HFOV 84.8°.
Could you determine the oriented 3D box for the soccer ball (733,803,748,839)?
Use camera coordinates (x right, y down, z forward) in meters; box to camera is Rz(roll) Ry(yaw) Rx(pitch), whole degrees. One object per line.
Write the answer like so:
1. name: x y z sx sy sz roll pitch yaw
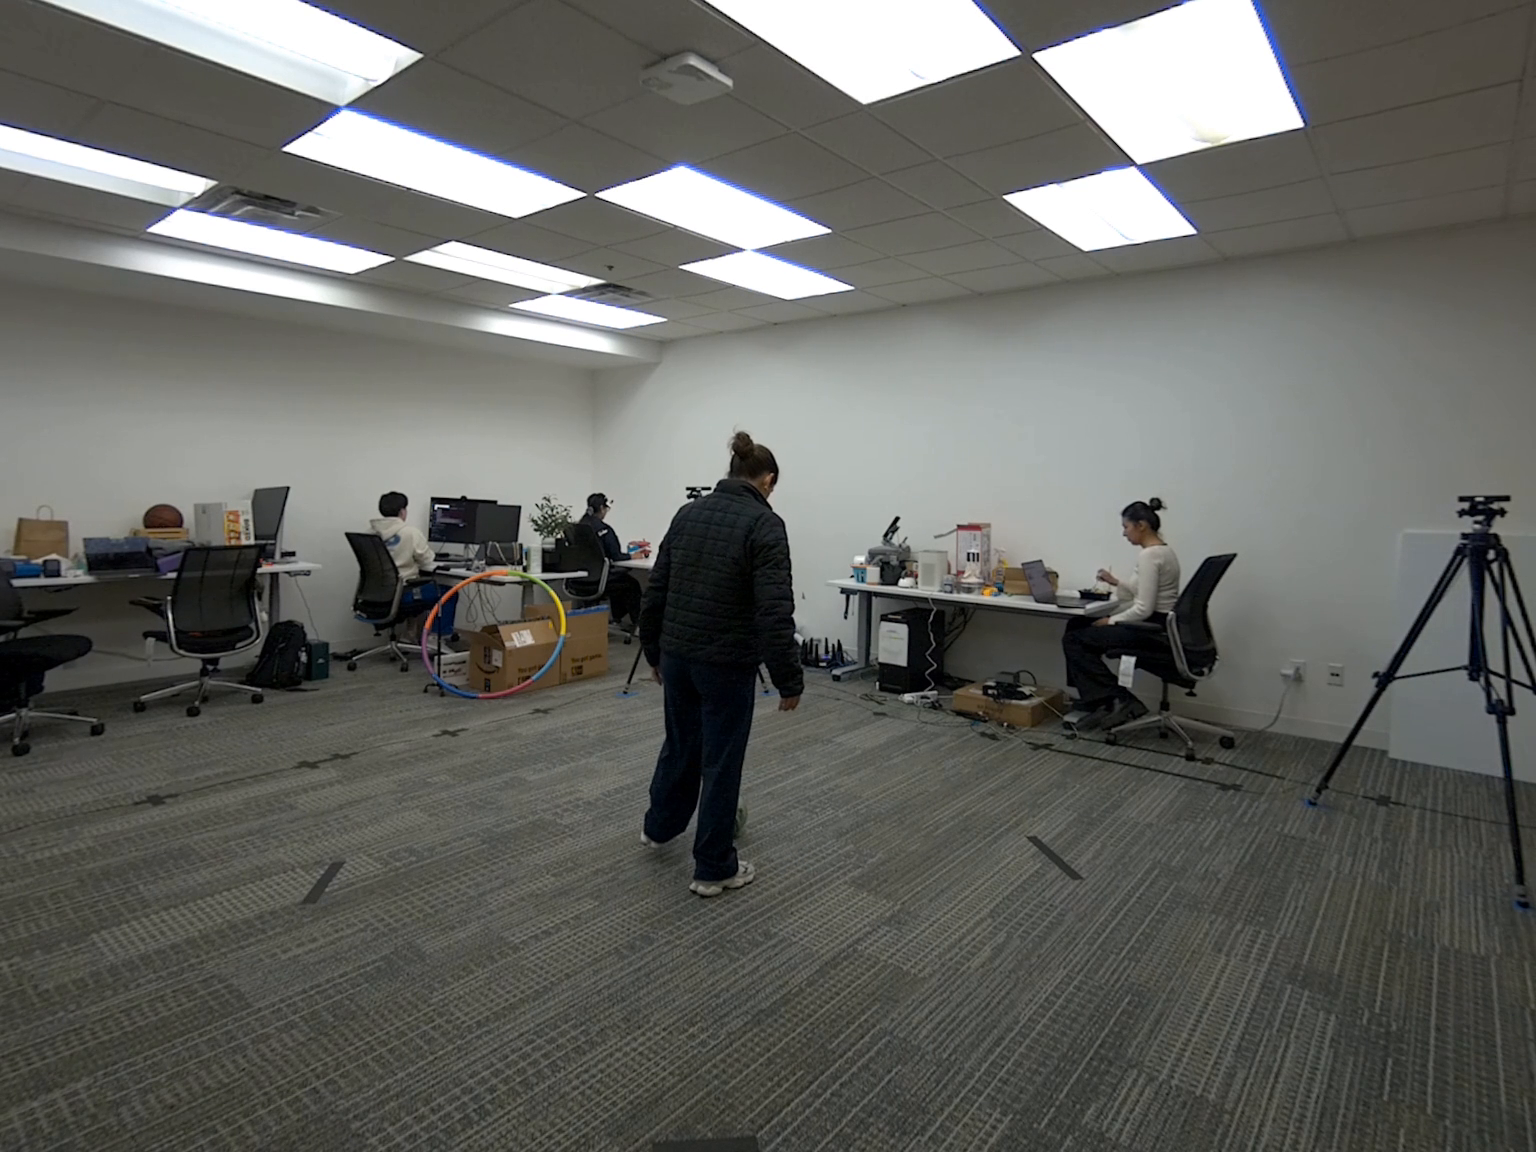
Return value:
1. soccer ball: -0.178 0.938 3.397 0.187 0.187 0.188 1 4 -2
